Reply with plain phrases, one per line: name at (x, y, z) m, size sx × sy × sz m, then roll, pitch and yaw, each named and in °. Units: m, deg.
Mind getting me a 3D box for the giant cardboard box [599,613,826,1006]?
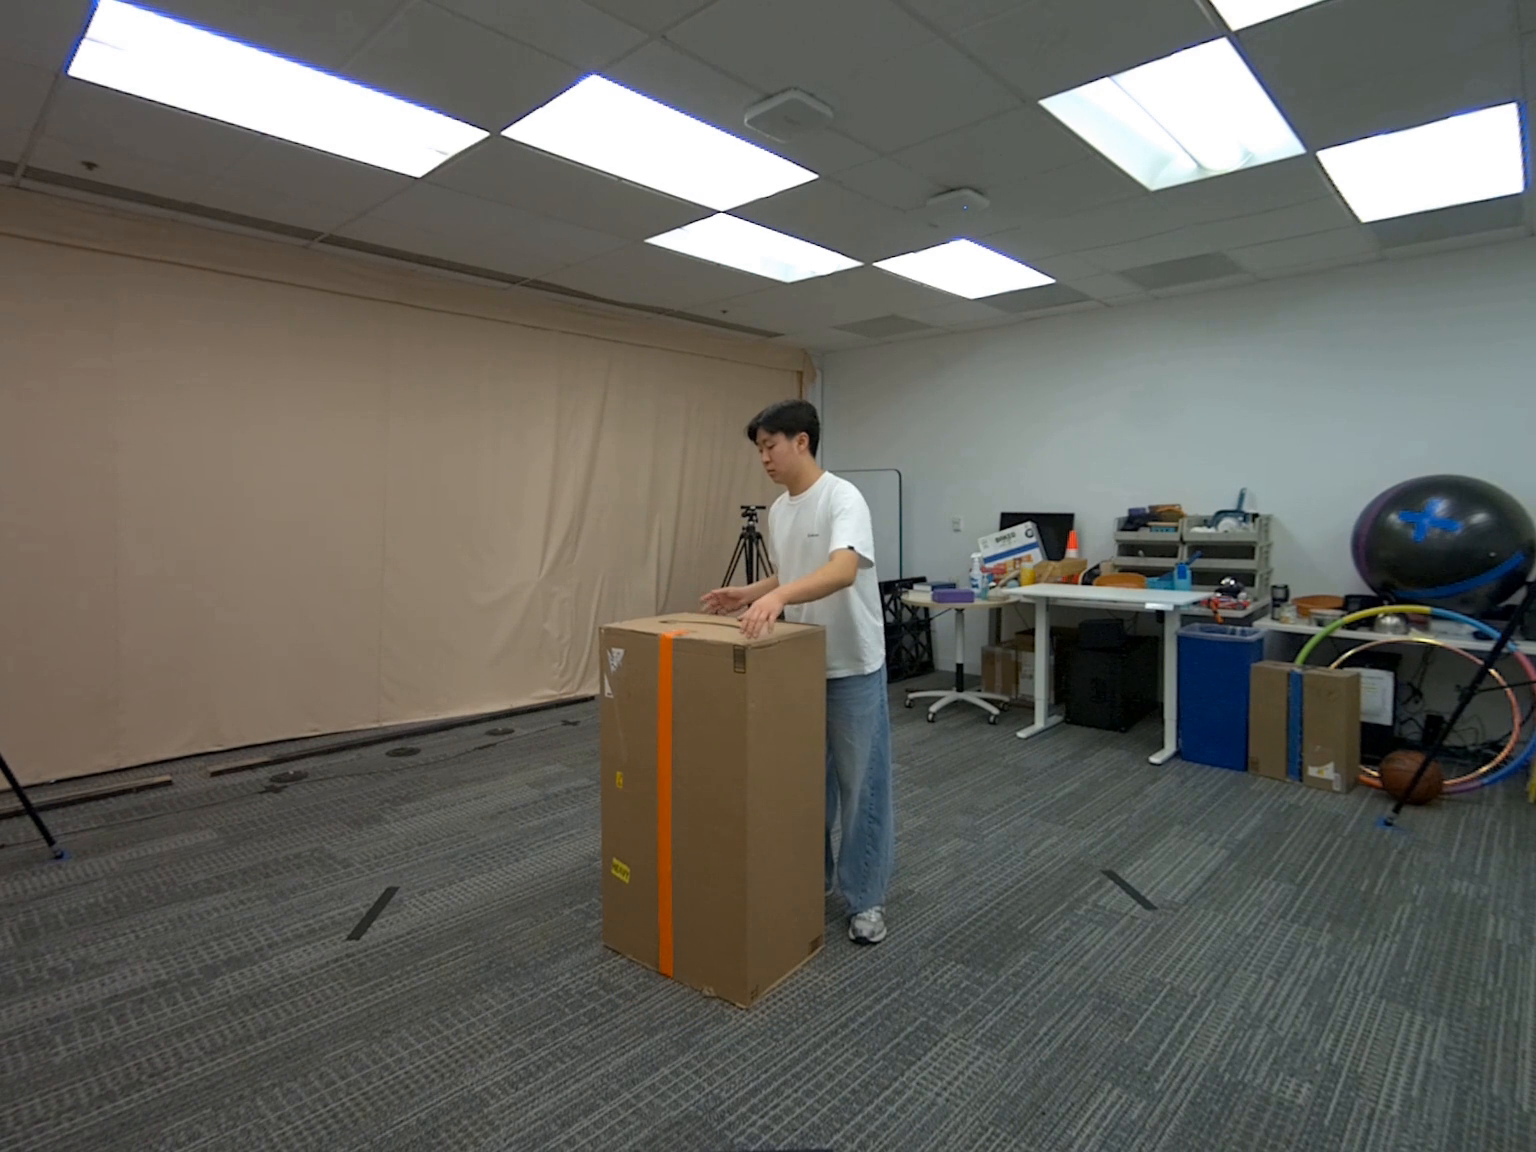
giant cardboard box at (-0.176, 0.663, 2.625) m, size 0.596 × 1.024 × 0.413 m, roll 2°, pitch 4°, yaw 37°
